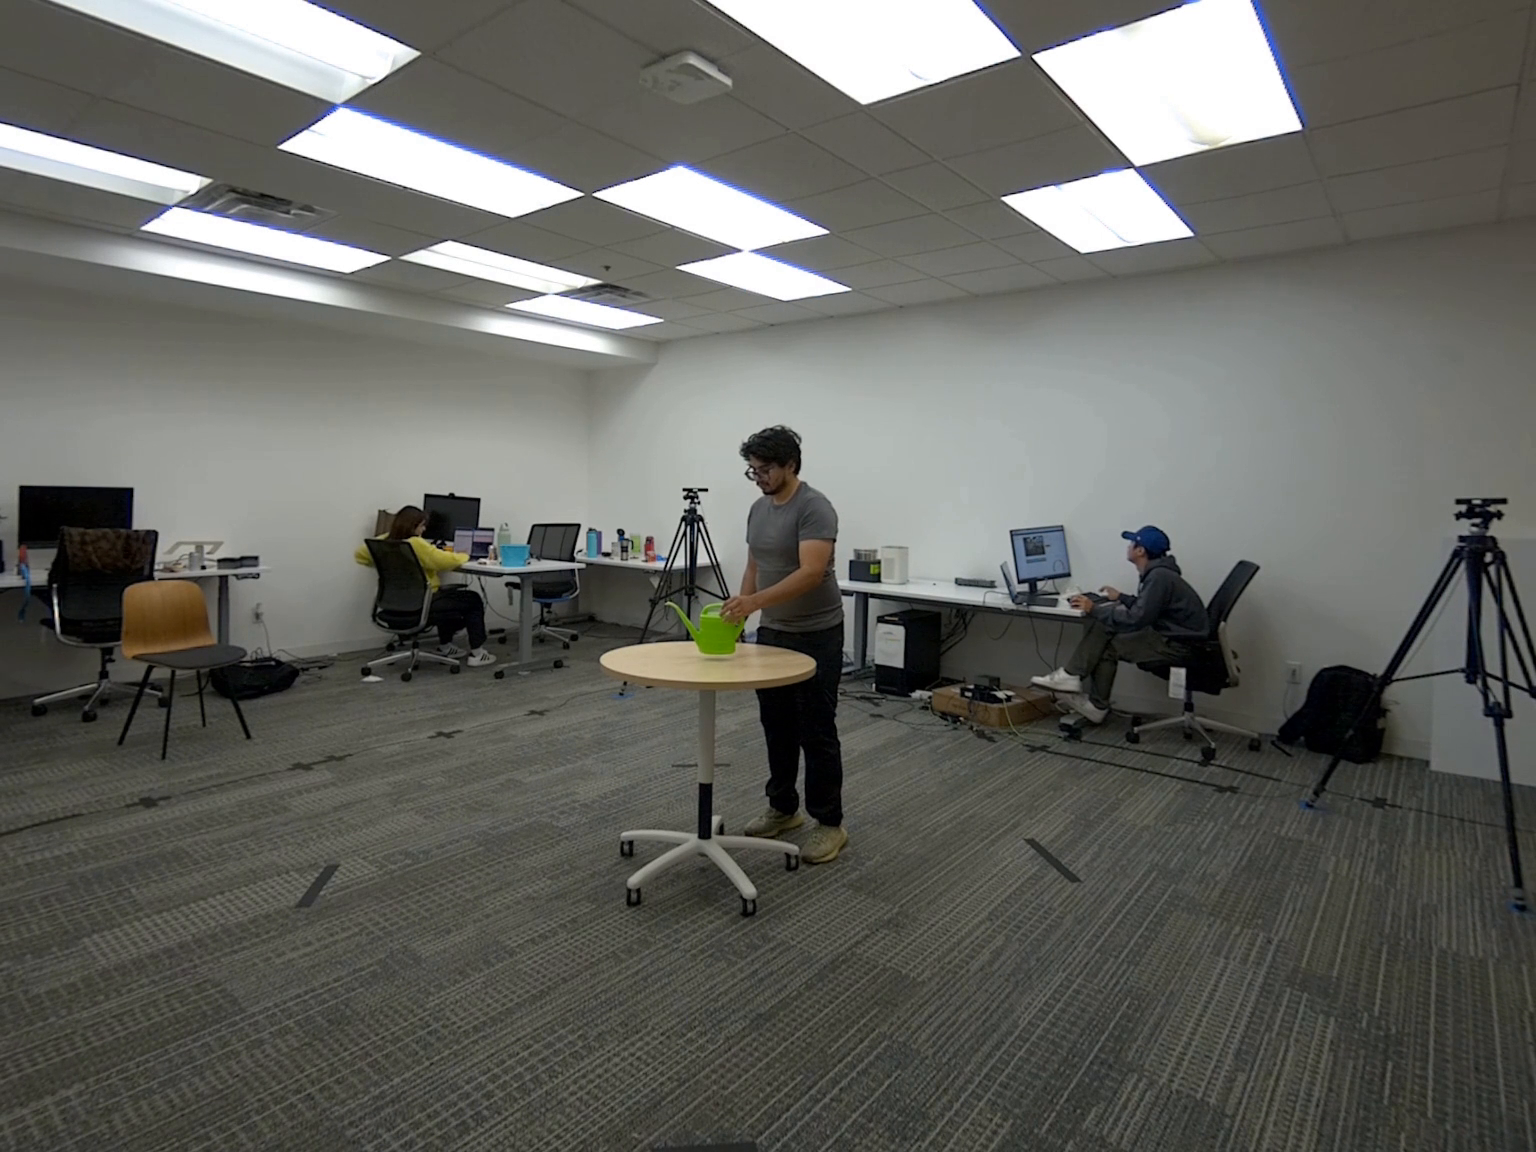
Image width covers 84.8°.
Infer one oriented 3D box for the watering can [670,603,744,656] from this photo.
[{"bbox_3d":[-0.237,0.181,3.036,0.284,0.176,0.096,4,5,20],"label":"watering can"}]
